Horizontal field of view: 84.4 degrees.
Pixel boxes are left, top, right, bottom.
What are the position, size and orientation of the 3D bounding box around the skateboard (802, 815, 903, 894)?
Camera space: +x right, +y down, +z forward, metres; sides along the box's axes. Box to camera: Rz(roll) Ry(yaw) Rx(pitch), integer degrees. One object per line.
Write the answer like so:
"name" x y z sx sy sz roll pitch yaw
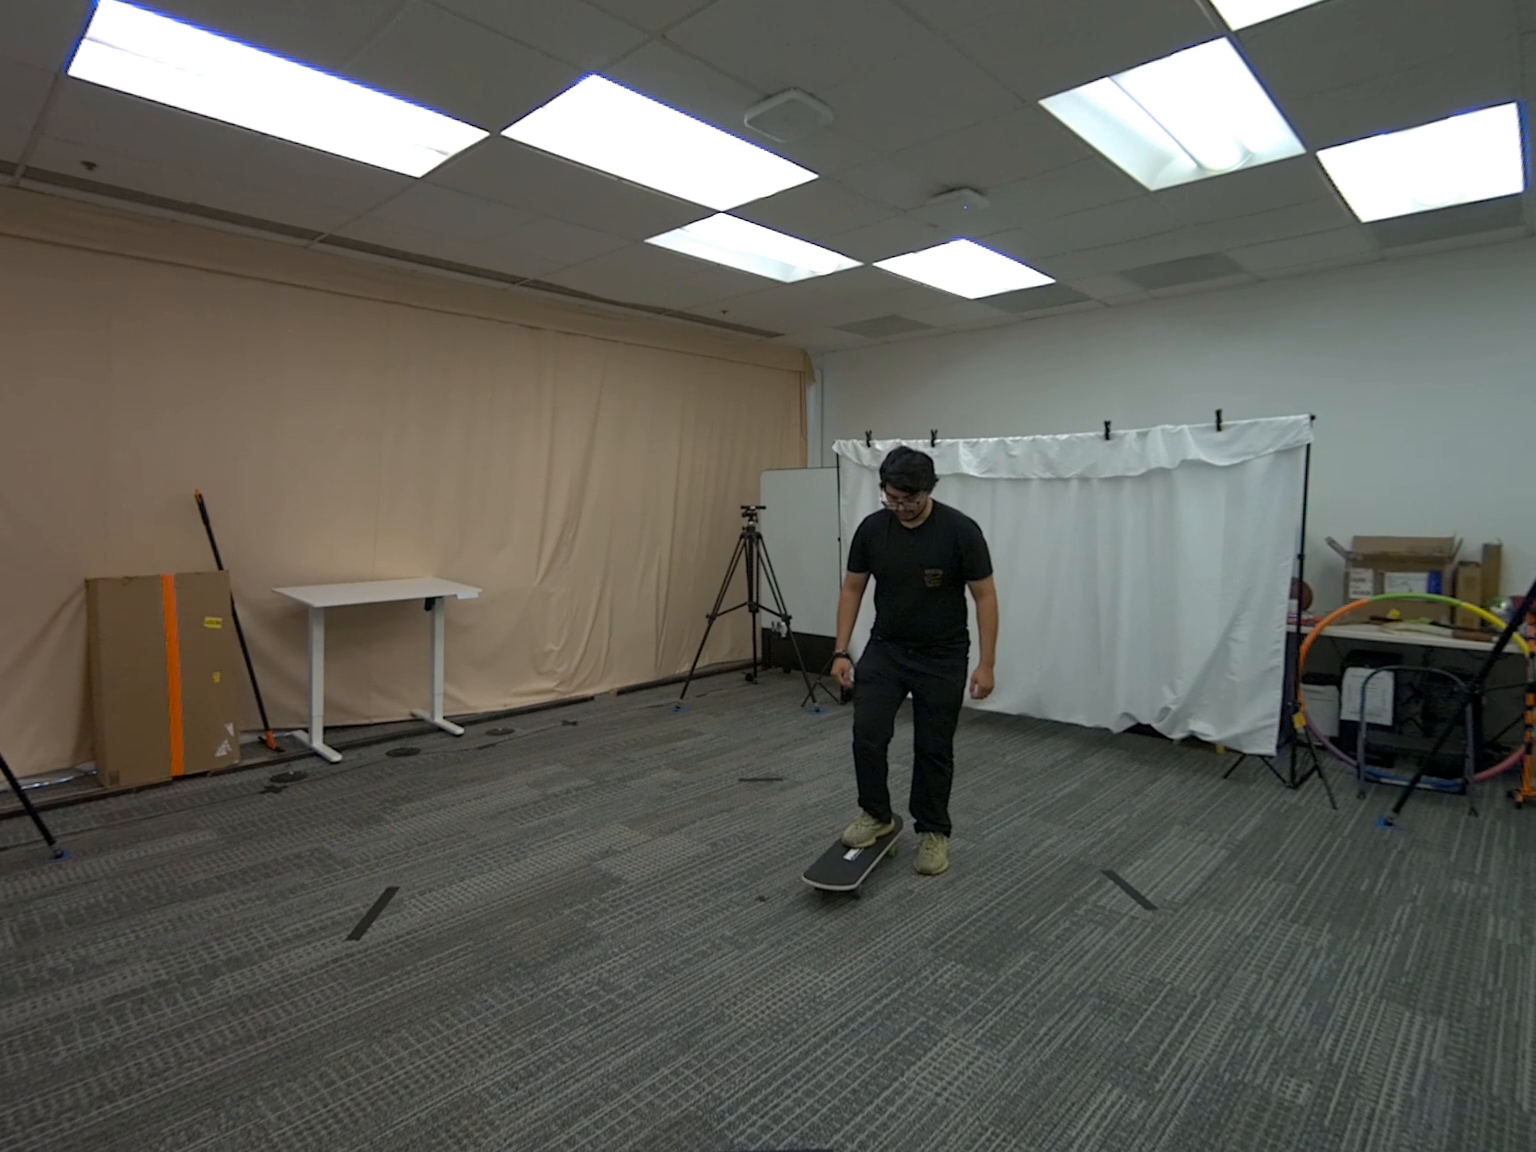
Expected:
"skateboard" 0.341 1.073 3.185 0.199 0.110 0.766 3 5 26
